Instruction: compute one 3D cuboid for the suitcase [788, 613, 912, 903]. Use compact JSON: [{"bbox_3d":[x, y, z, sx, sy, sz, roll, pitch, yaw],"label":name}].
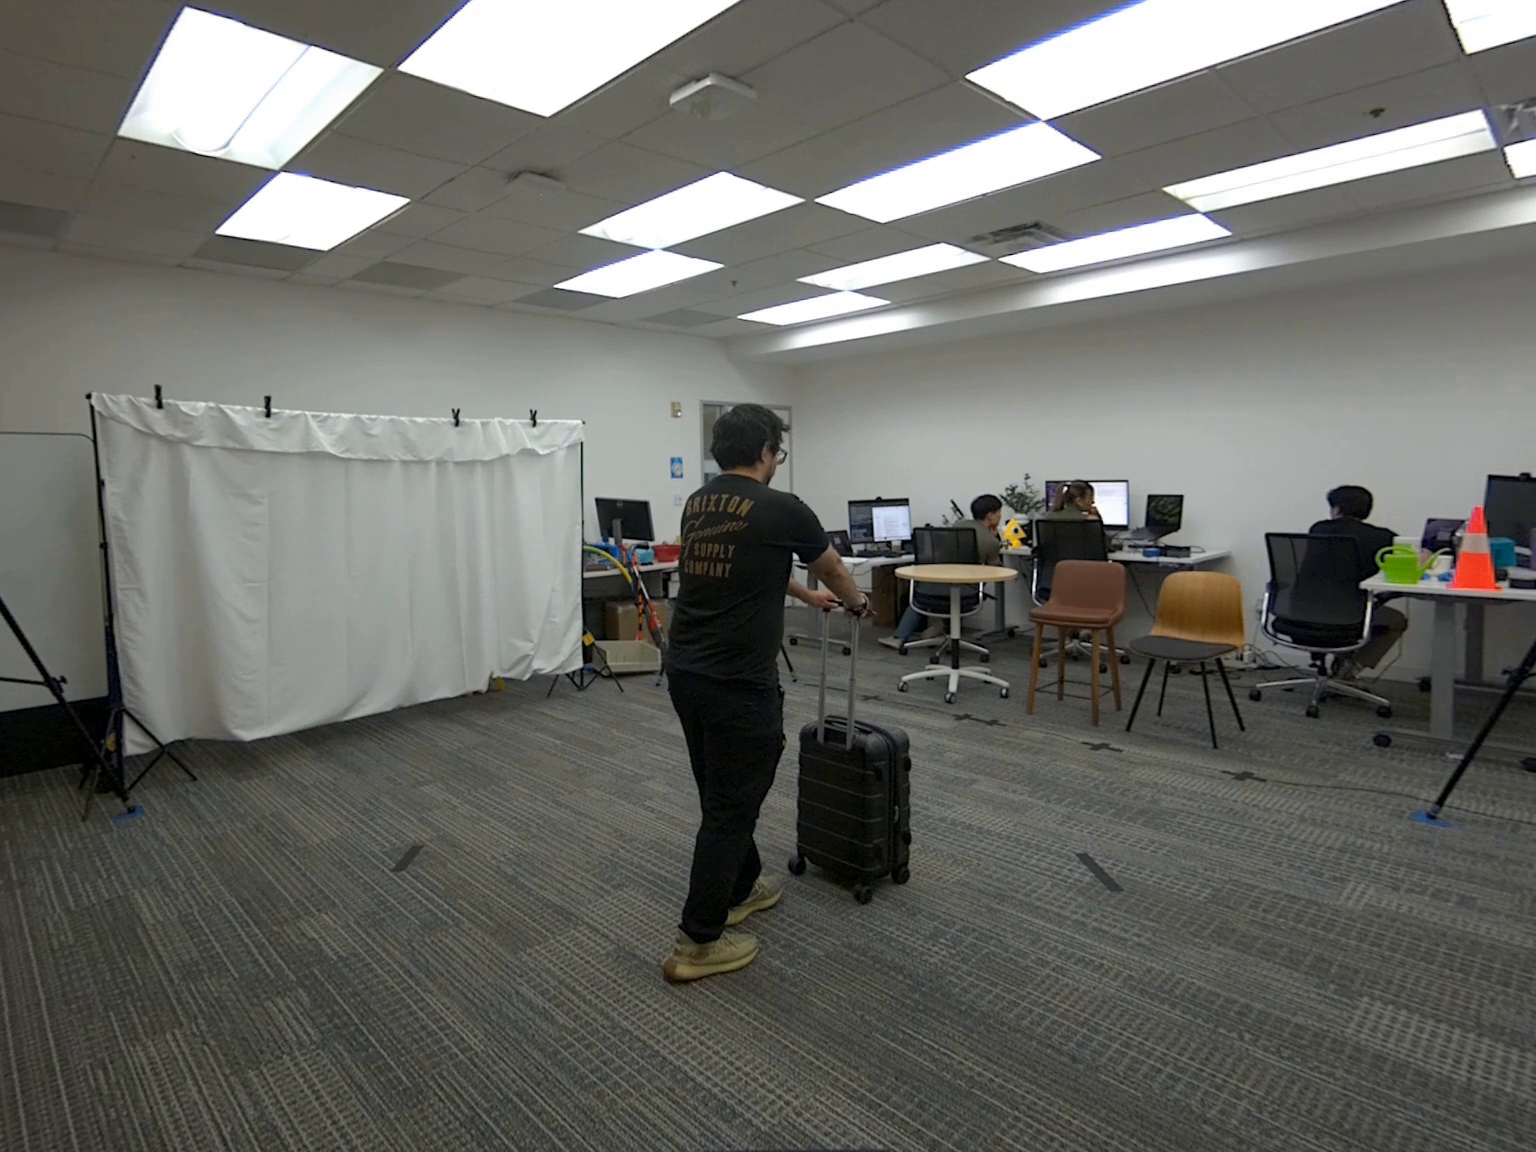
[{"bbox_3d":[0.311,0.579,3.001,0.249,0.978,0.396,2,1,-44],"label":"suitcase"}]
